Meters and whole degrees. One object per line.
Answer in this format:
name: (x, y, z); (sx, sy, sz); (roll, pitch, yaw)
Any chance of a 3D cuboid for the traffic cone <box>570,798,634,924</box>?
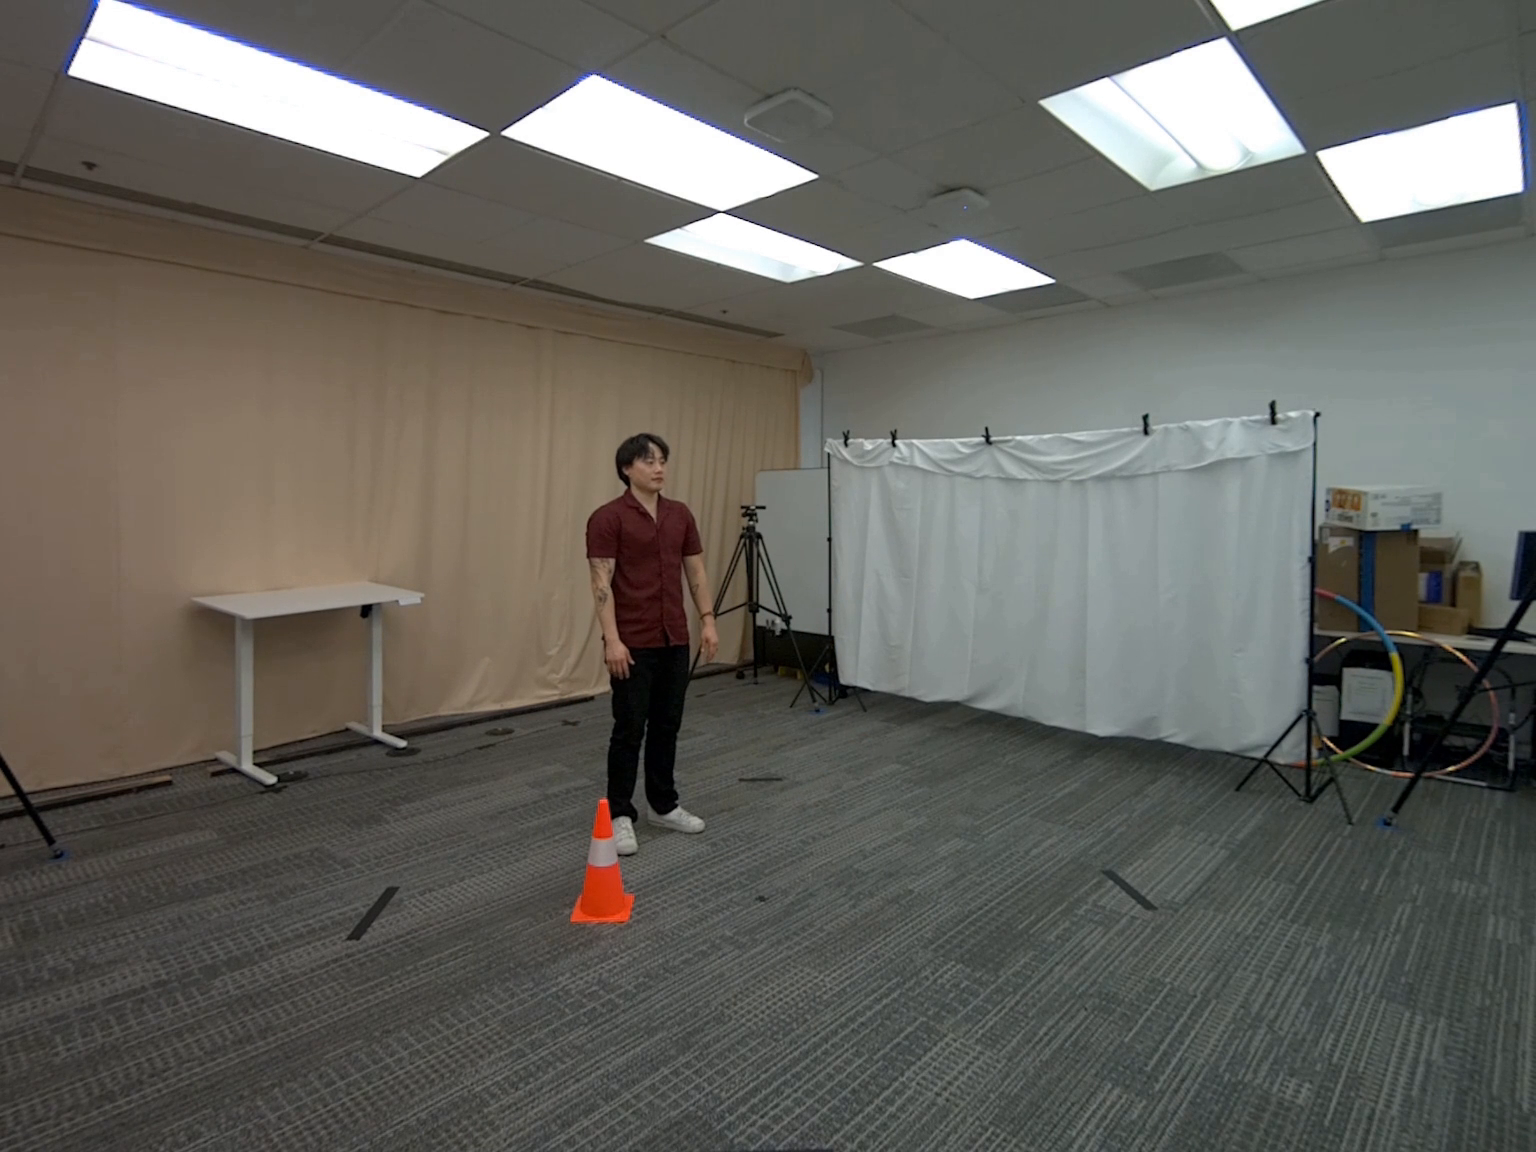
traffic cone: (-0.582, 0.965, 2.918); (0.205, 0.383, 0.203); (-2, 3, 2)
